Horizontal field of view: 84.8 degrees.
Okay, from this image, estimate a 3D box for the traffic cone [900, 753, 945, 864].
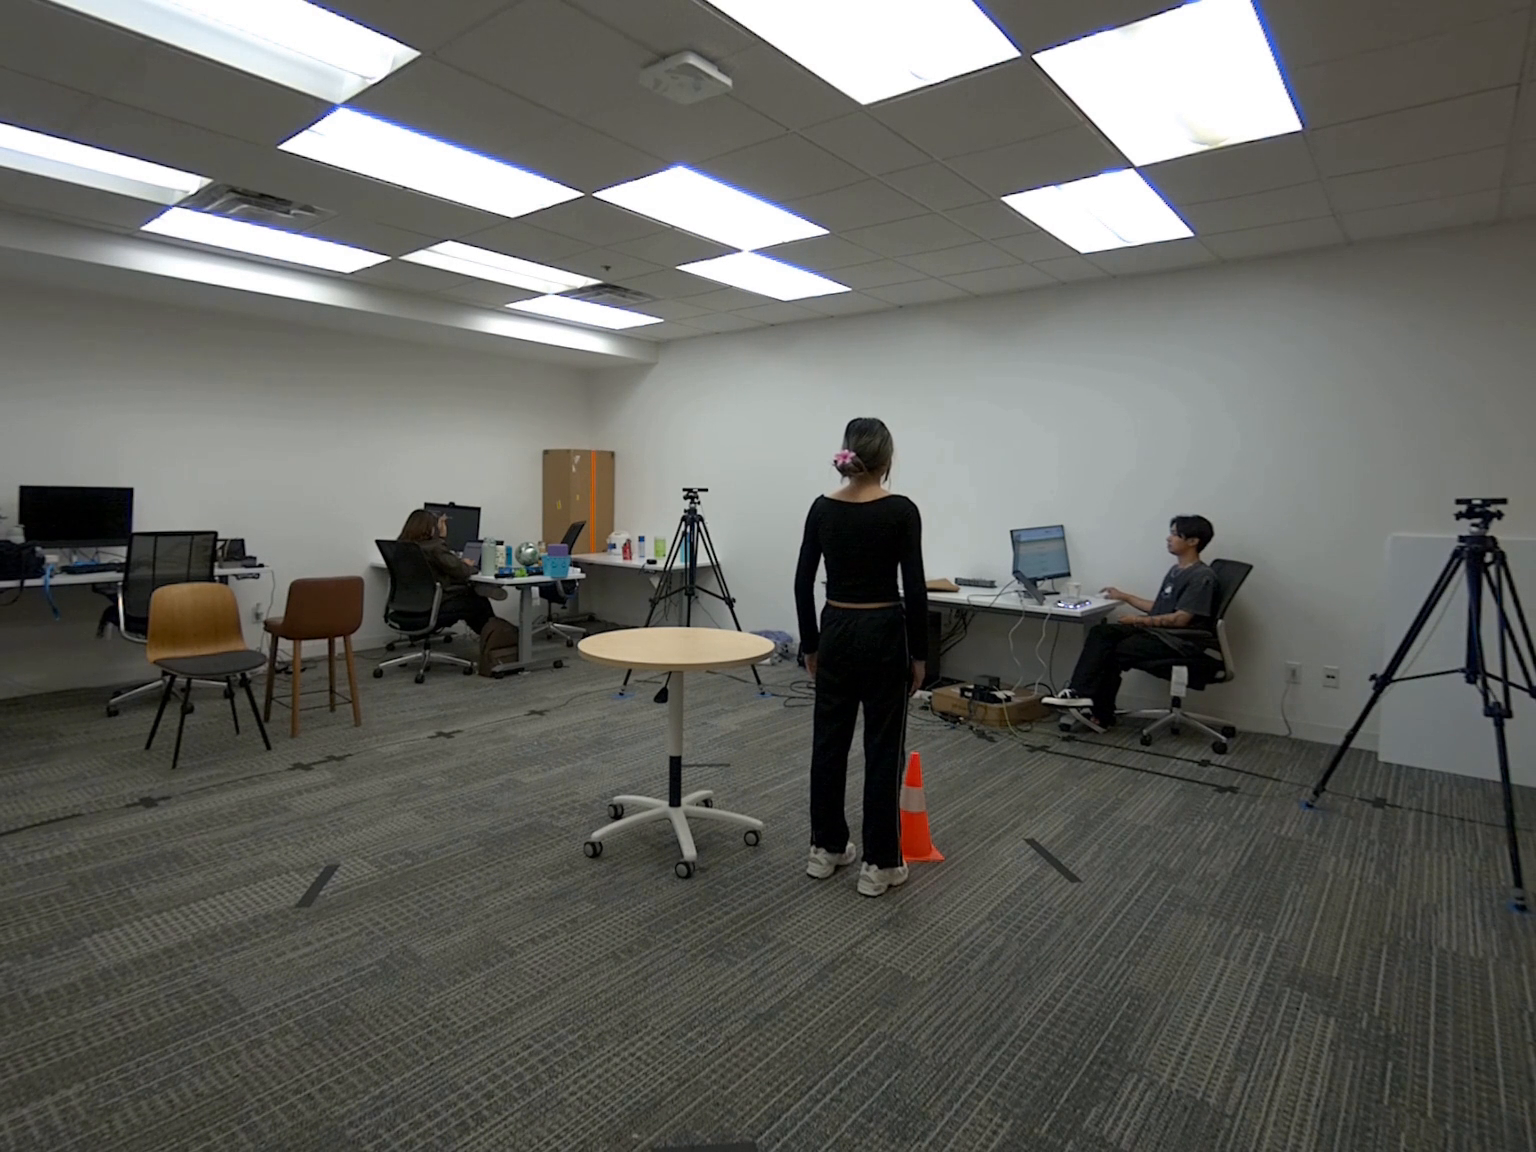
[{"bbox_3d":[0.554,0.879,3.325,0.204,0.383,0.205,-1,3,-7],"label":"traffic cone"}]
